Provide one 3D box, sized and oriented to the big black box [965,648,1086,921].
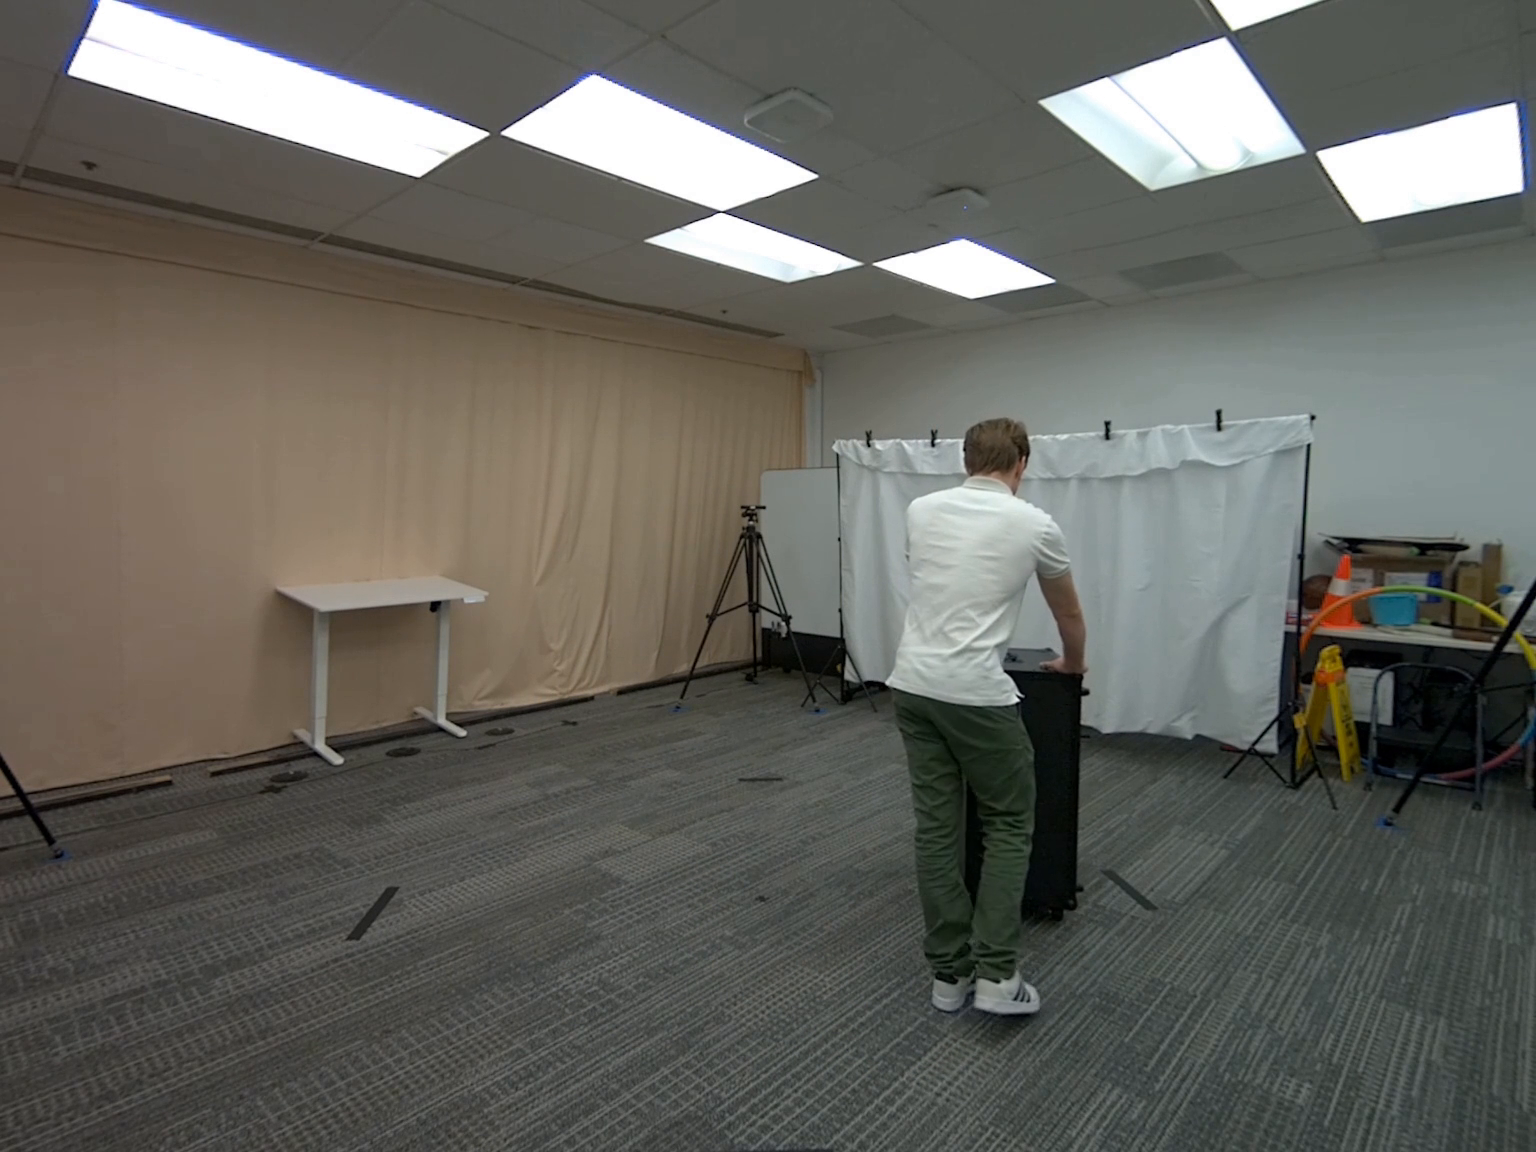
[{"bbox_3d":[0.872,0.720,2.993,0.389,0.866,0.520,1,4,7],"label":"big black box"}]
